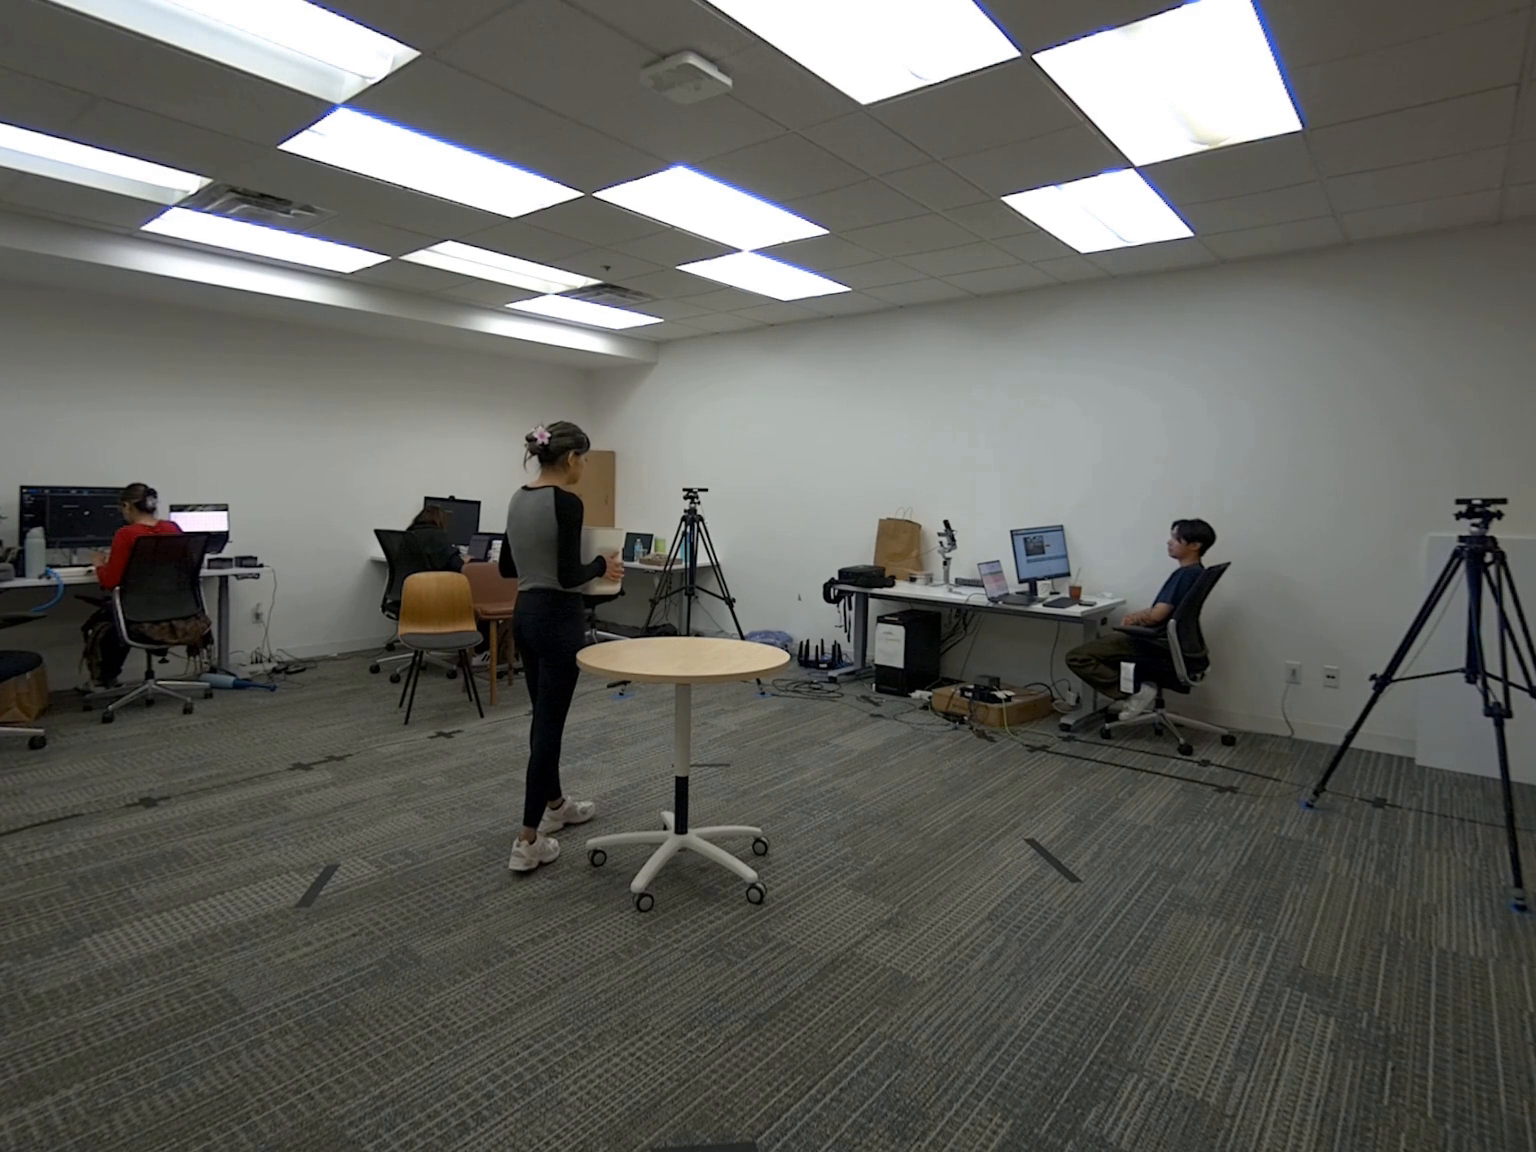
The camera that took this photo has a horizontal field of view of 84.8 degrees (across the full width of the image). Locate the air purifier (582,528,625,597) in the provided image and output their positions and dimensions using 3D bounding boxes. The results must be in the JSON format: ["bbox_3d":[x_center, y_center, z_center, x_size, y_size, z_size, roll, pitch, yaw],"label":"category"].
[{"bbox_3d":[-0.705,-0.059,3.408,0.166,0.265,0.177,1,1,-43],"label":"air purifier"}]
